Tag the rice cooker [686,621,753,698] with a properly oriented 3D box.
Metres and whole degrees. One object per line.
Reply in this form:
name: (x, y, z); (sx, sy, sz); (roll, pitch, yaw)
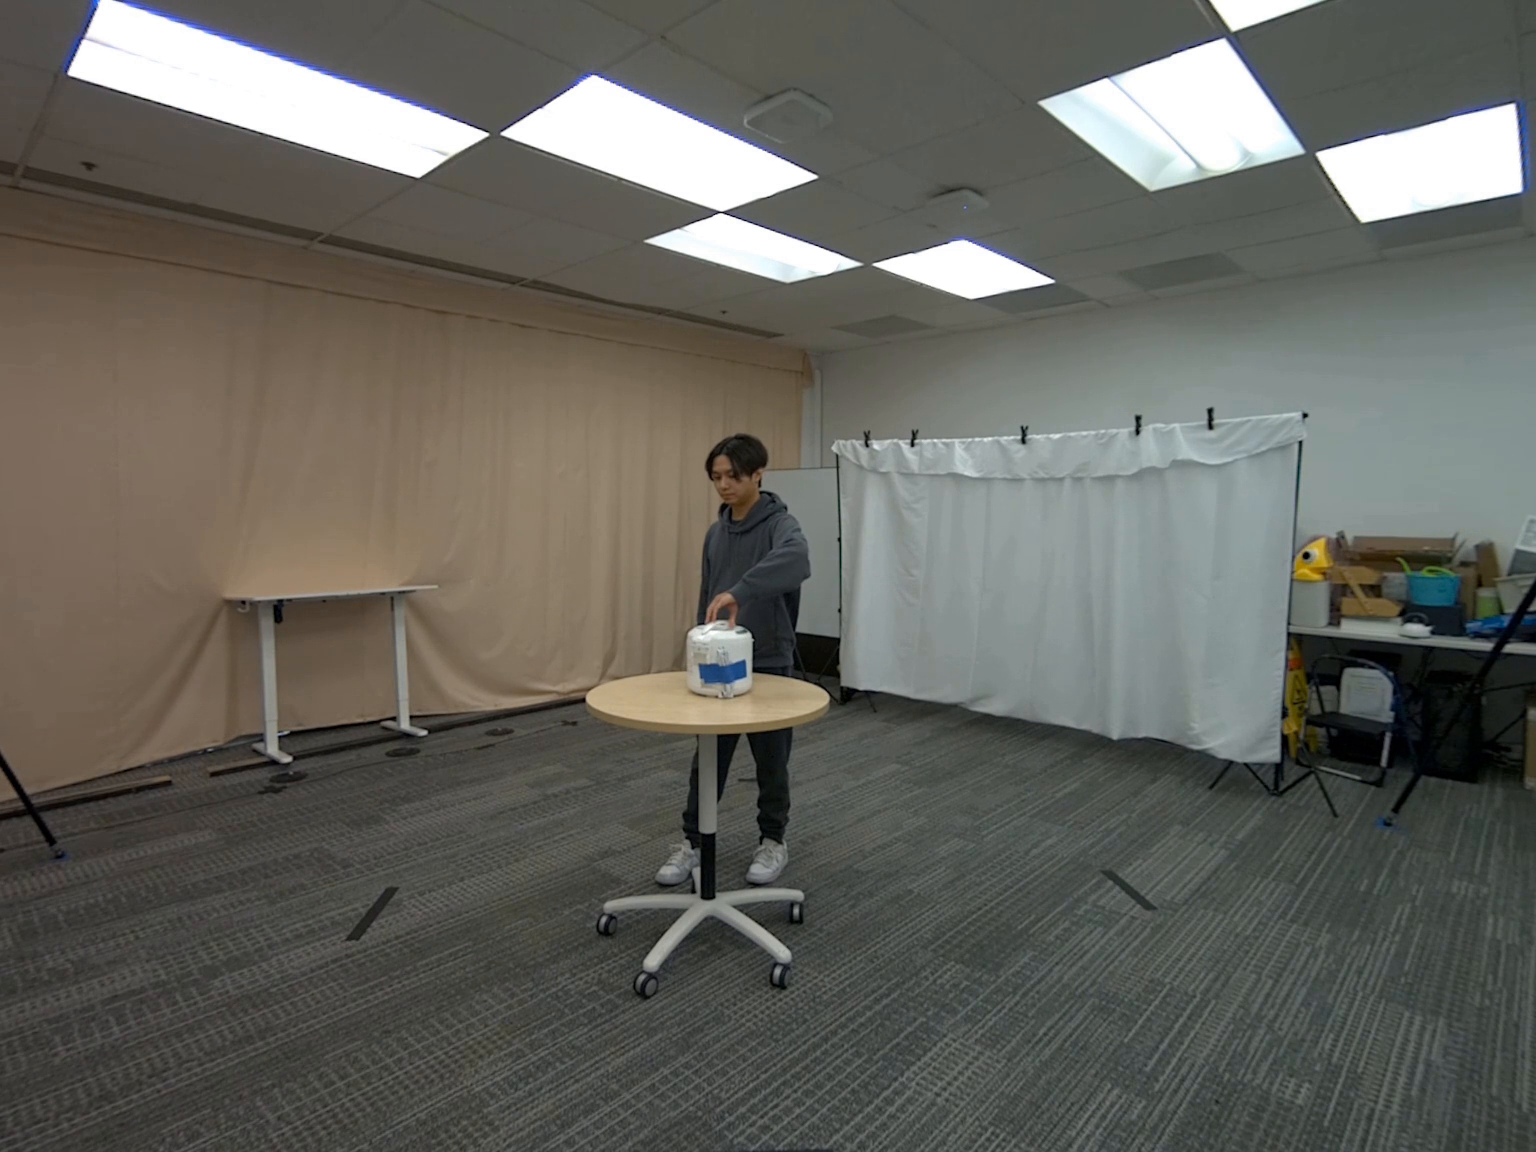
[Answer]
rice cooker: (-0.160, 0.256, 2.695); (0.224, 0.232, 0.214); (3, 4, 34)
